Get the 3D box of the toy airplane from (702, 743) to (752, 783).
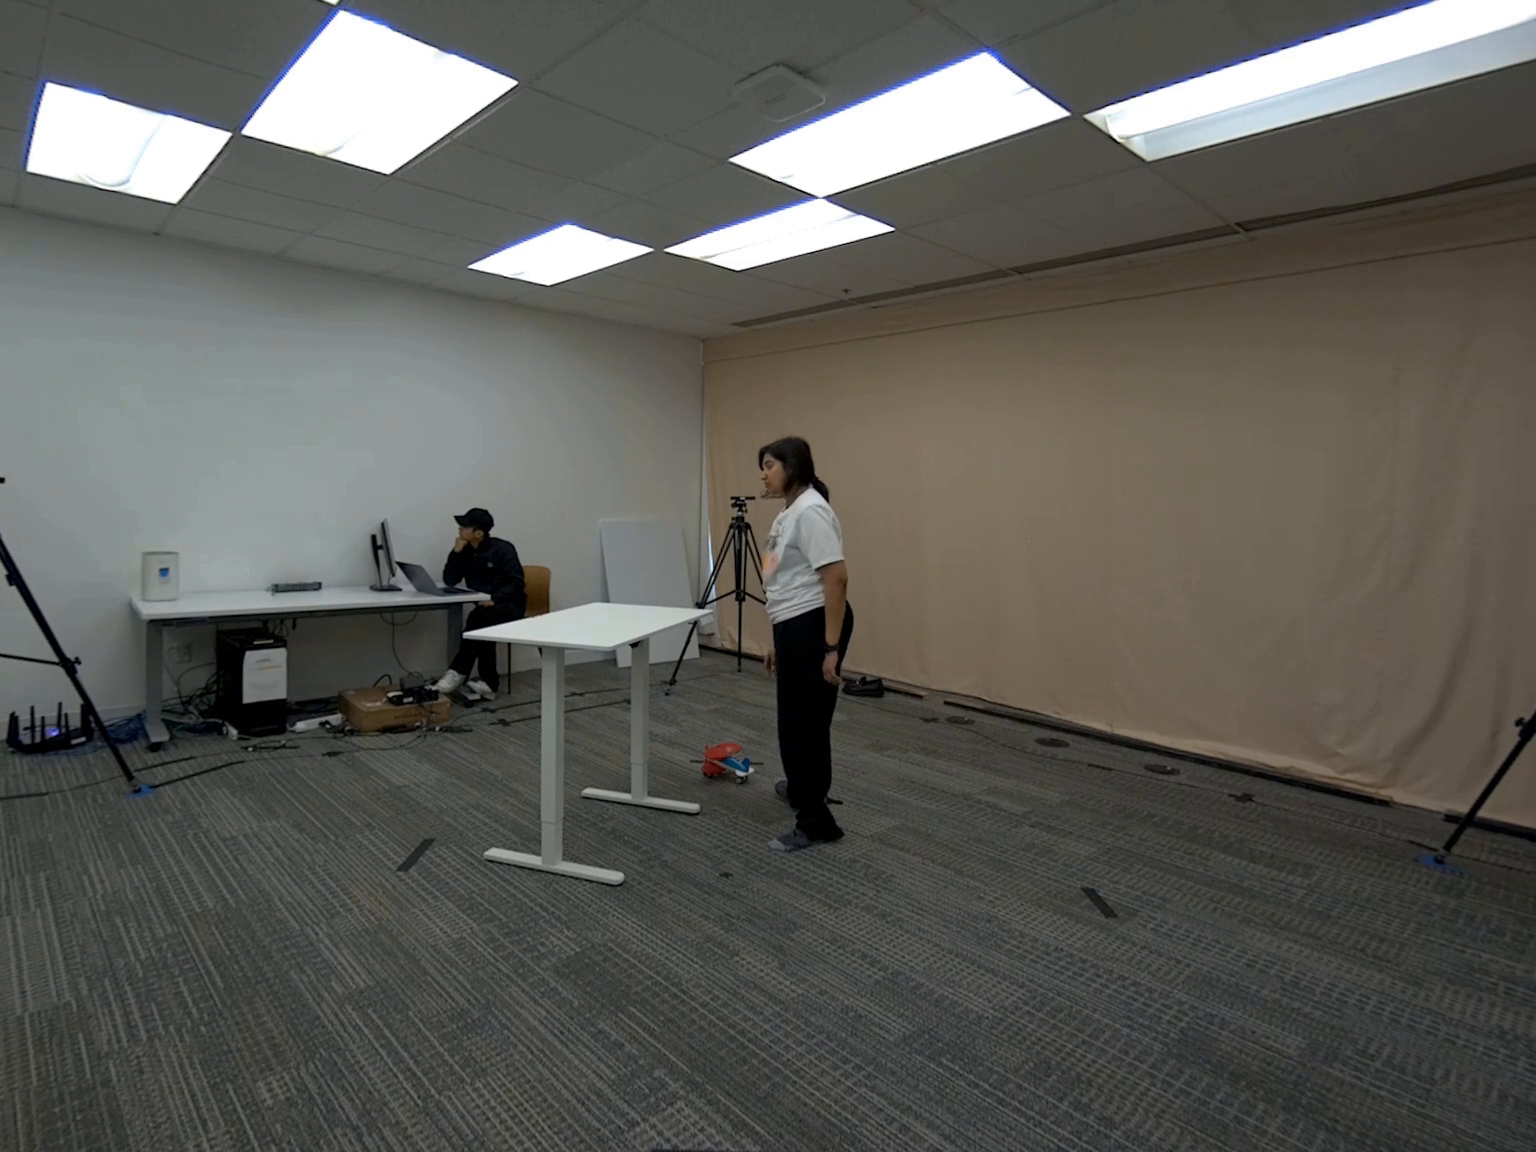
[{"bbox_3d":[-0.210,0.934,4.211,0.261,0.156,0.250,2,3,7],"label":"toy airplane"}]
